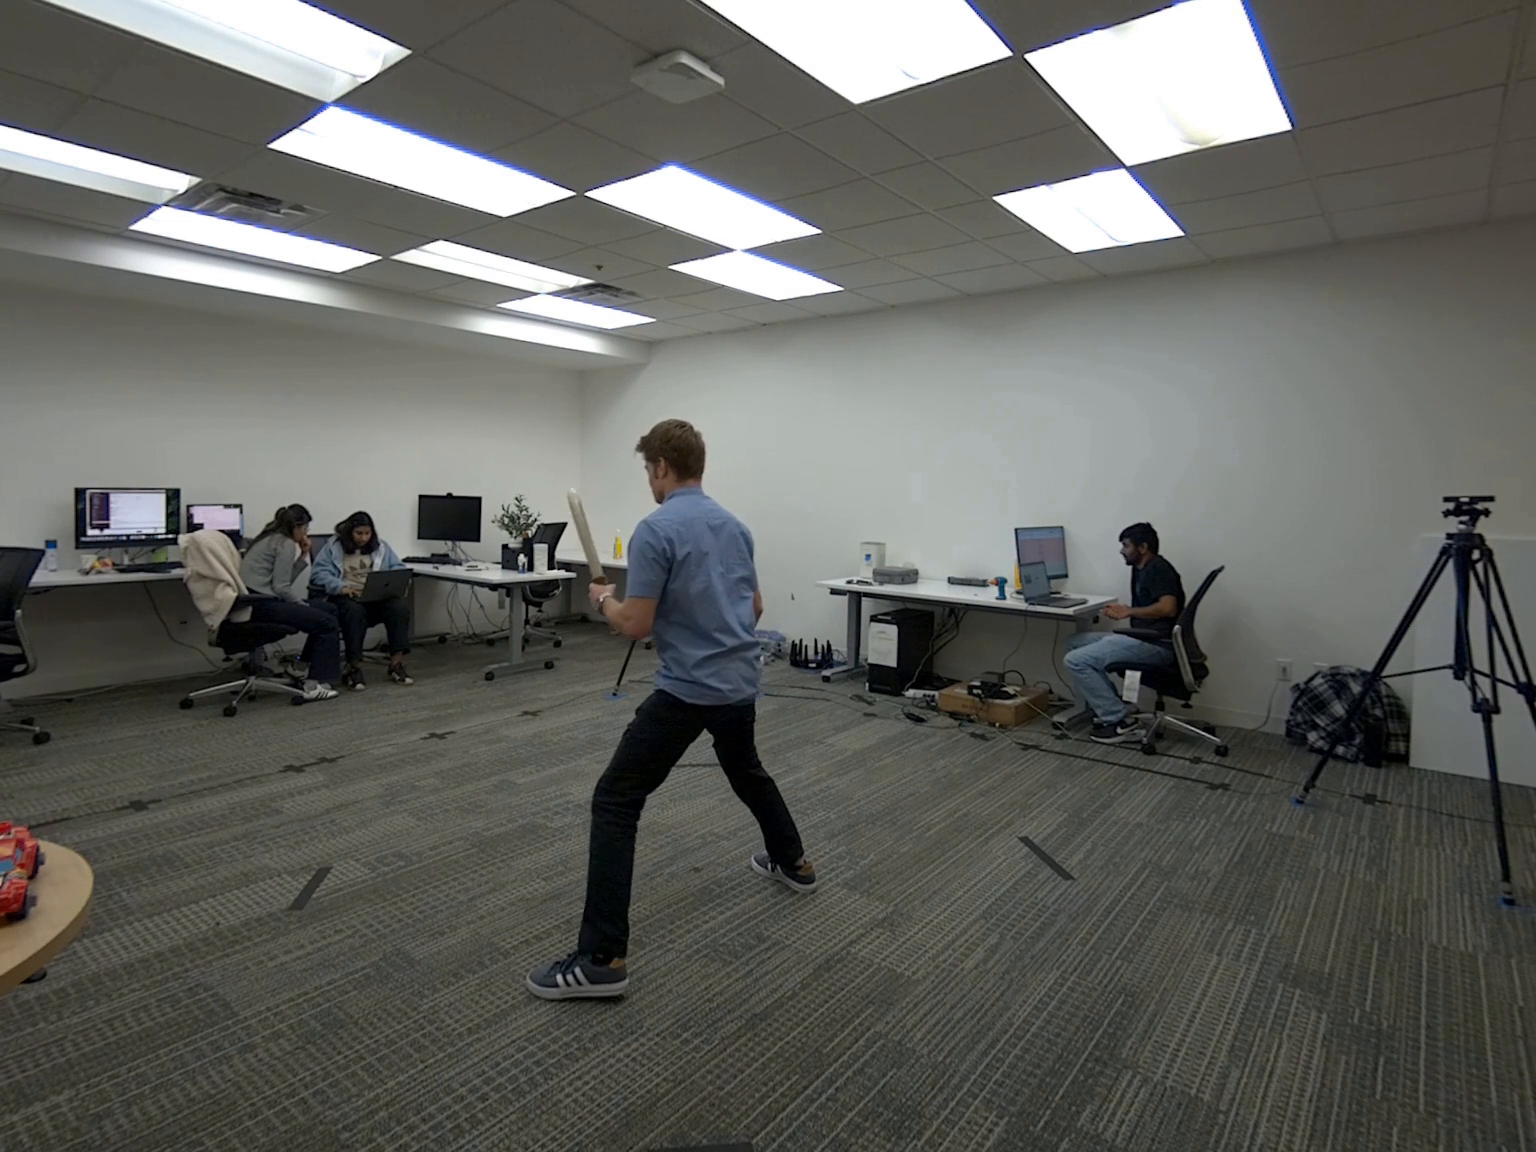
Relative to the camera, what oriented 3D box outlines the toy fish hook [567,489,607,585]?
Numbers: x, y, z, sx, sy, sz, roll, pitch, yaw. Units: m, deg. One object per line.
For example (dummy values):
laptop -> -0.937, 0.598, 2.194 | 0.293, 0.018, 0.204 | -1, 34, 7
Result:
toy fish hook -> -0.584, -0.047, 2.833 | 0.048, 0.509, 0.224 | -15, -4, -6
